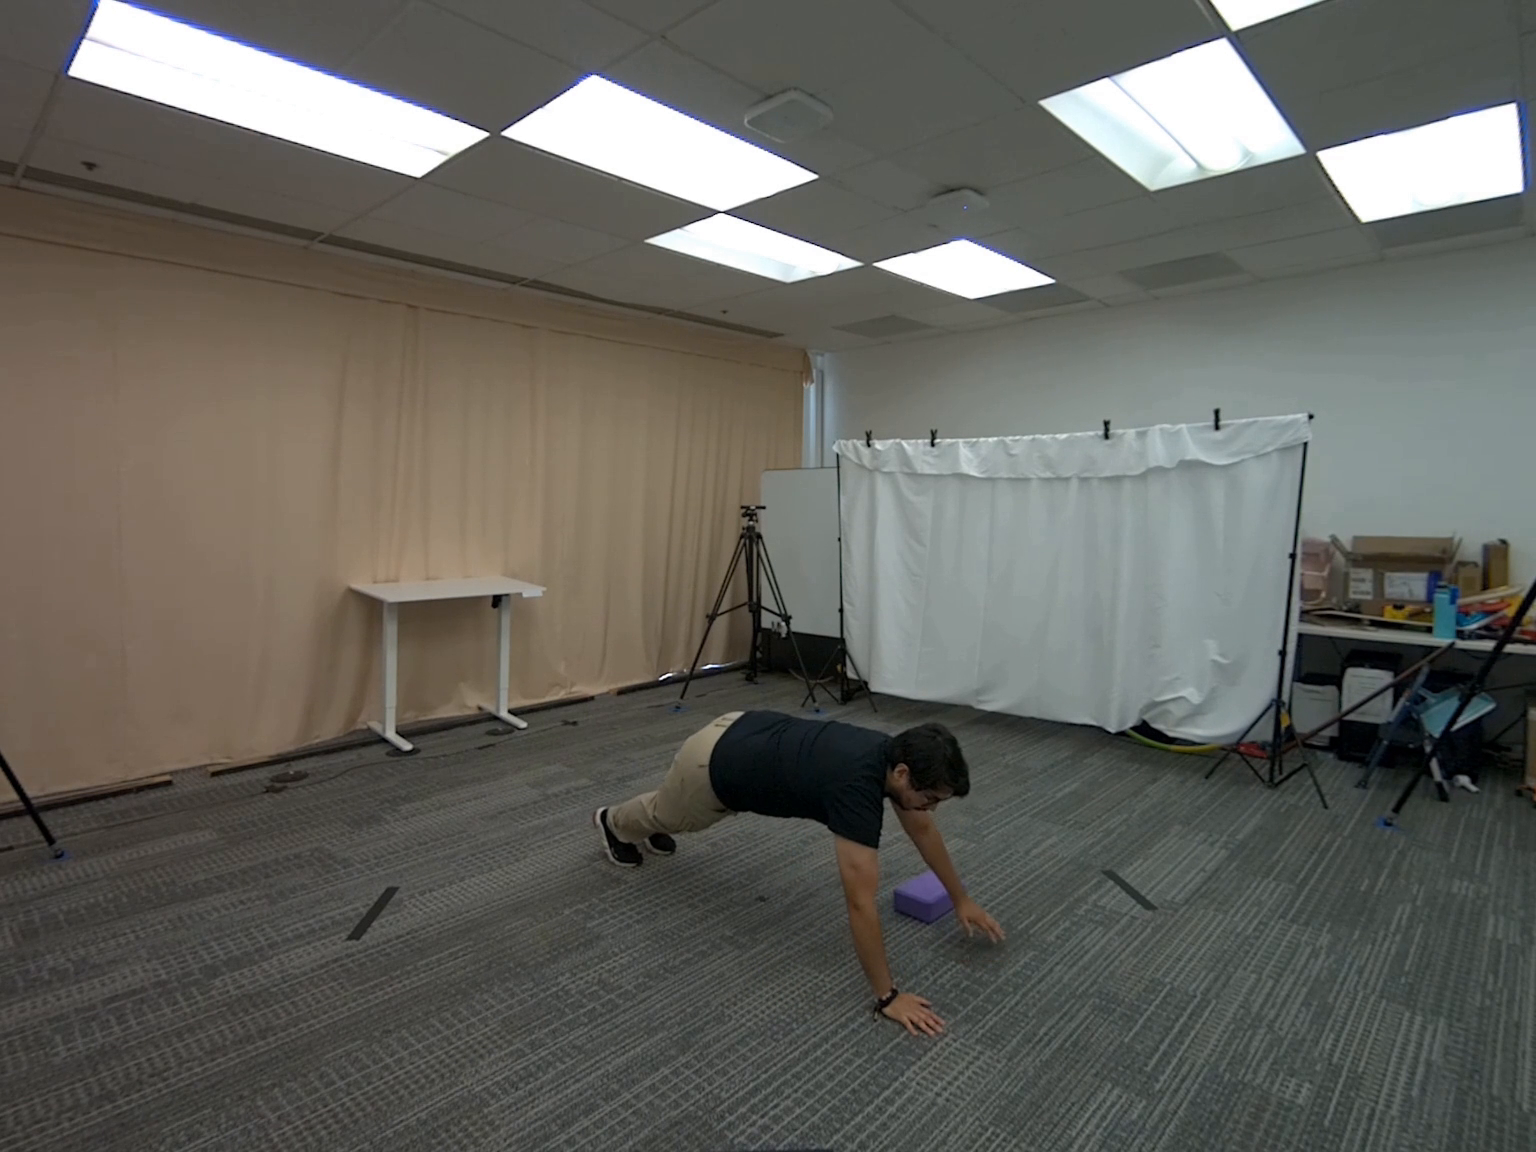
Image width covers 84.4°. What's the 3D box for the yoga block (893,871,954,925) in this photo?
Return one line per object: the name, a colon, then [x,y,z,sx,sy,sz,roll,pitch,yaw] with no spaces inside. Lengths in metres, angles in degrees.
yoga block: [0.565,1.107,2.908,0.222,0.076,0.154,-5,7,-44]
